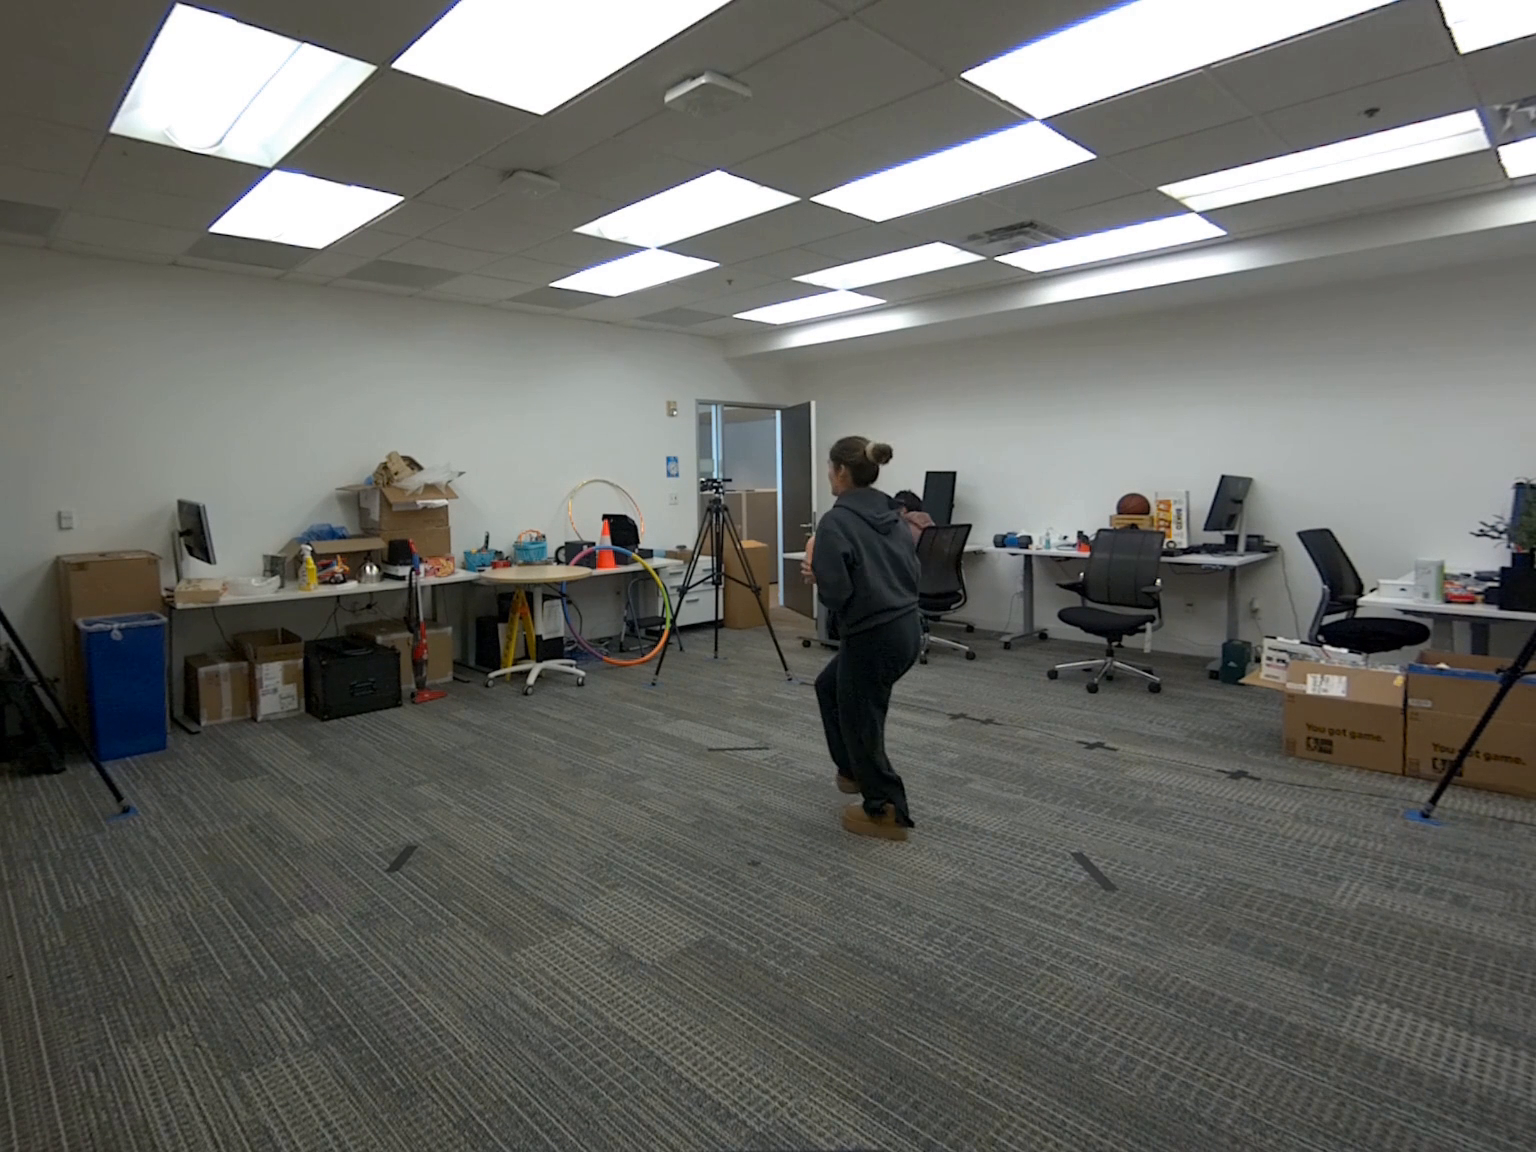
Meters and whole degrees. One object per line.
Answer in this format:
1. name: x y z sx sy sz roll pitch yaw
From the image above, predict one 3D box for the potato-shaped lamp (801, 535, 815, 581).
1. potato-shaped lamp: 0.246 -0.128 3.408 0.160 0.199 0.175 -5 -4 -42
